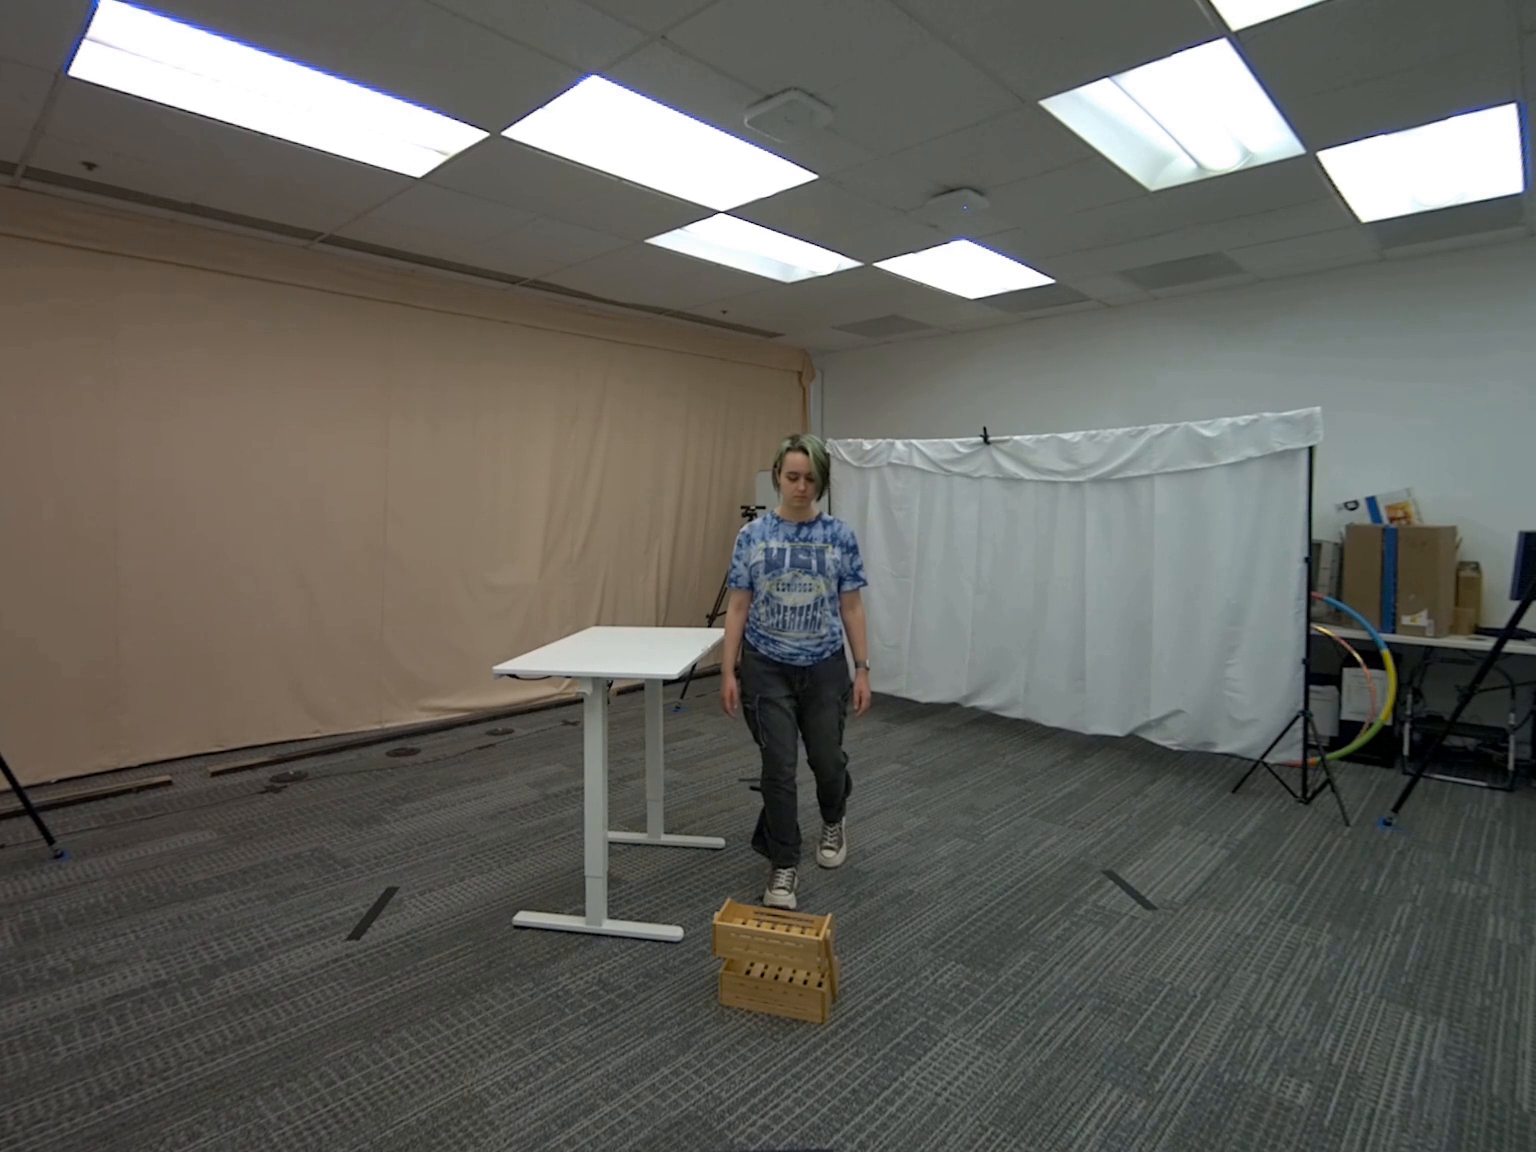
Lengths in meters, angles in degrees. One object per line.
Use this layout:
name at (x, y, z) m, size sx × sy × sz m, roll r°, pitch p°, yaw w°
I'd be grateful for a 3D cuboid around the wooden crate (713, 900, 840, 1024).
wooden crate at (0.033, 1.061, 2.390) m, size 0.330 × 0.273 × 0.297 m, roll 2°, pitch 4°, yaw 16°
